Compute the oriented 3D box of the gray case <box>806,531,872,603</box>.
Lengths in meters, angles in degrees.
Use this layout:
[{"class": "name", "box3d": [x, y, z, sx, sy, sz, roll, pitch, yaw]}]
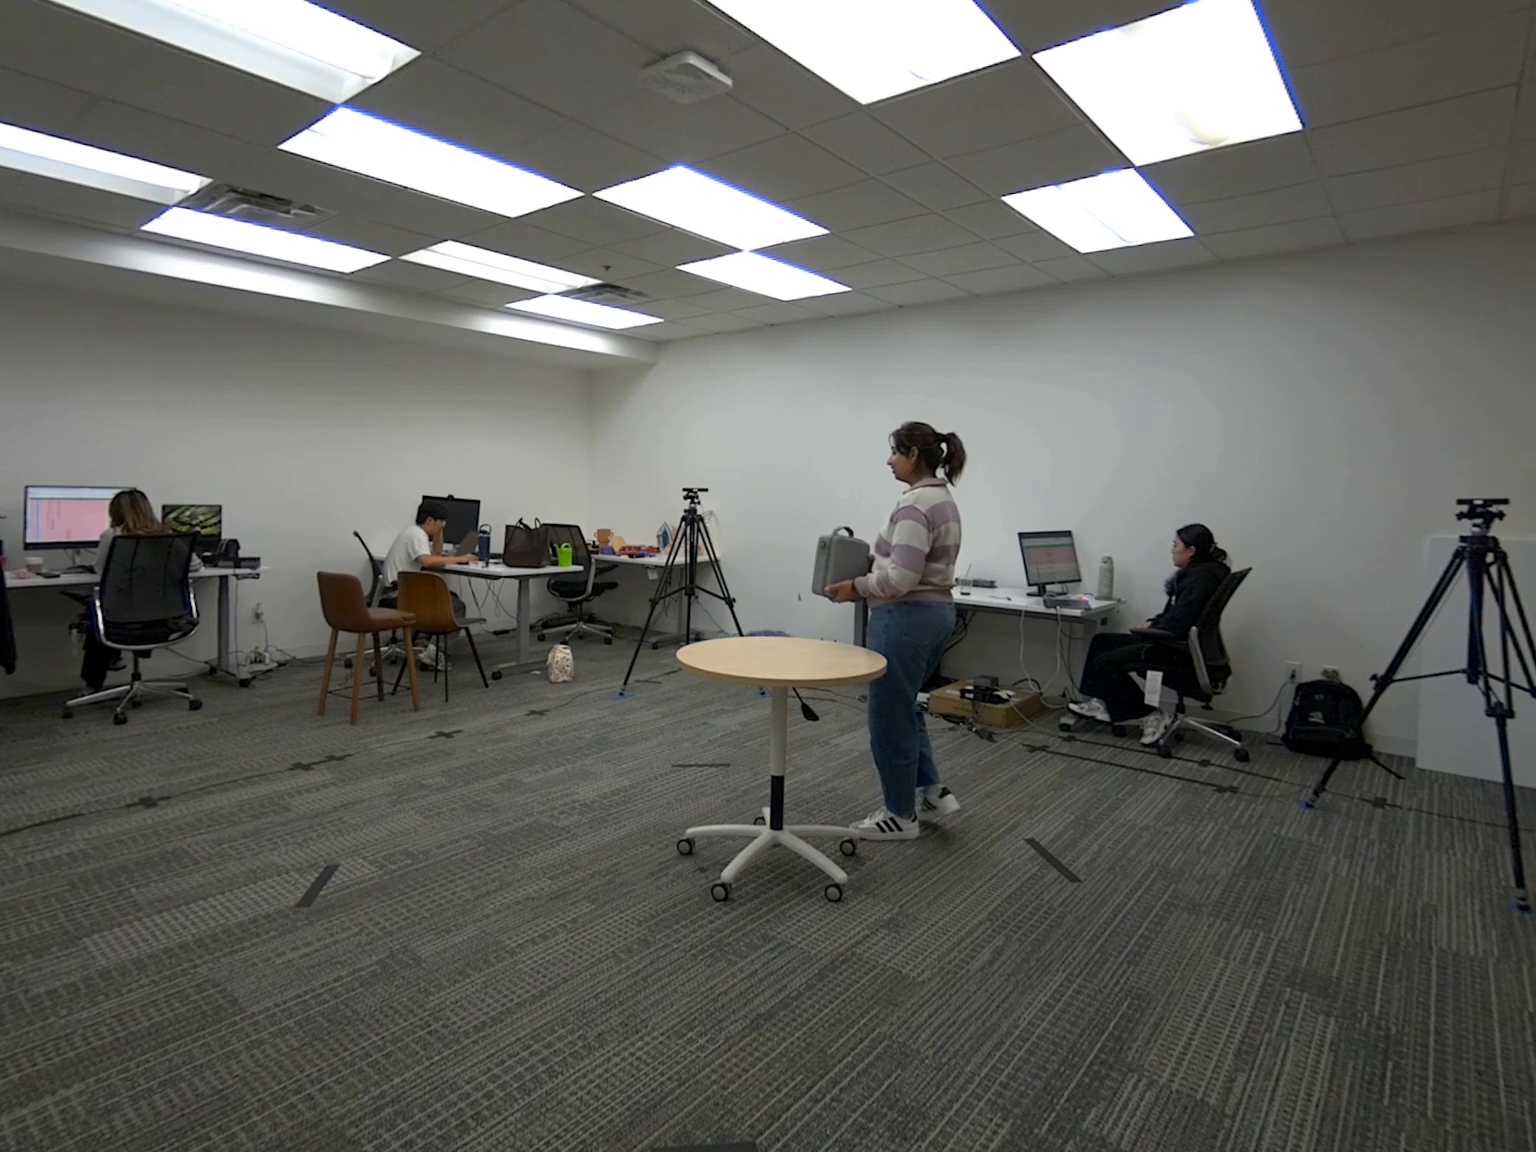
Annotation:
[{"class": "gray case", "box3d": [0.295, -0.039, 3.483, 0.108, 0.261, 0.248, 4, -4, 45]}]
